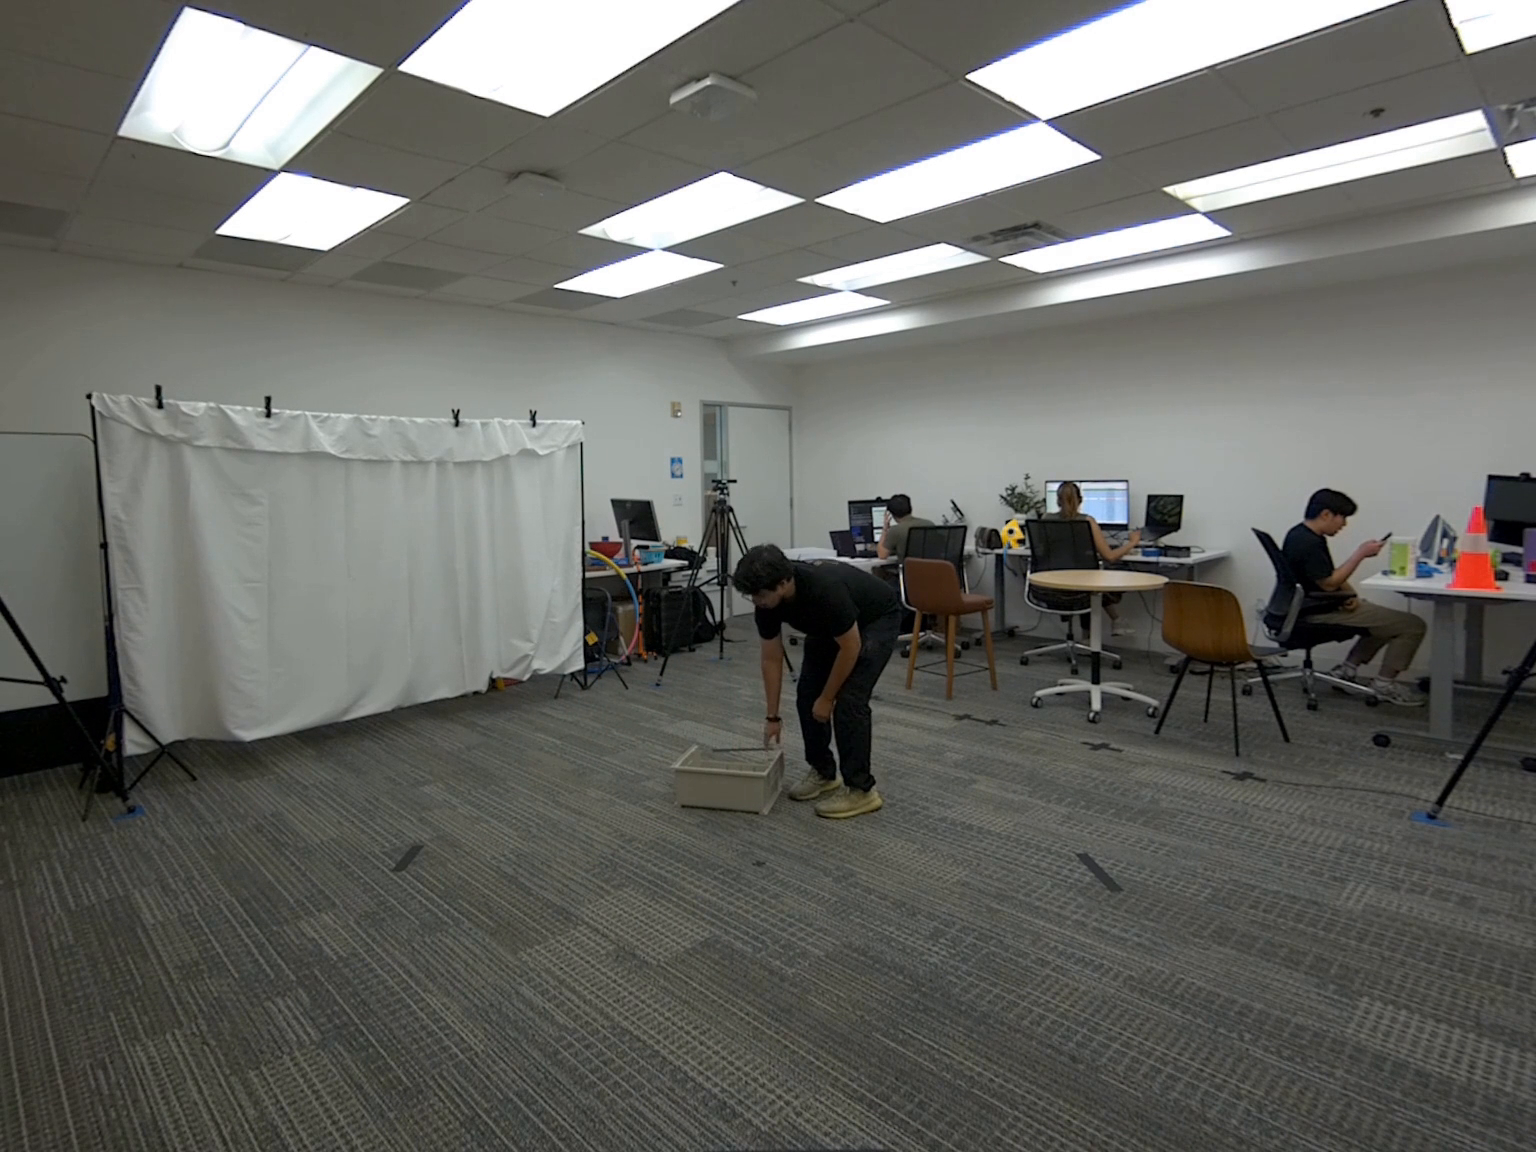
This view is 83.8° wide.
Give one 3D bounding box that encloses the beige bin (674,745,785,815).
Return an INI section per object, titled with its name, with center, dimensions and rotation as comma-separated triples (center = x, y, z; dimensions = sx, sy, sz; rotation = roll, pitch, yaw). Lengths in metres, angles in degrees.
[beige bin]
center = -0.168, 0.885, 3.781
dimensions = 0.429, 0.188, 0.374
rotation = 1, 8, 15
